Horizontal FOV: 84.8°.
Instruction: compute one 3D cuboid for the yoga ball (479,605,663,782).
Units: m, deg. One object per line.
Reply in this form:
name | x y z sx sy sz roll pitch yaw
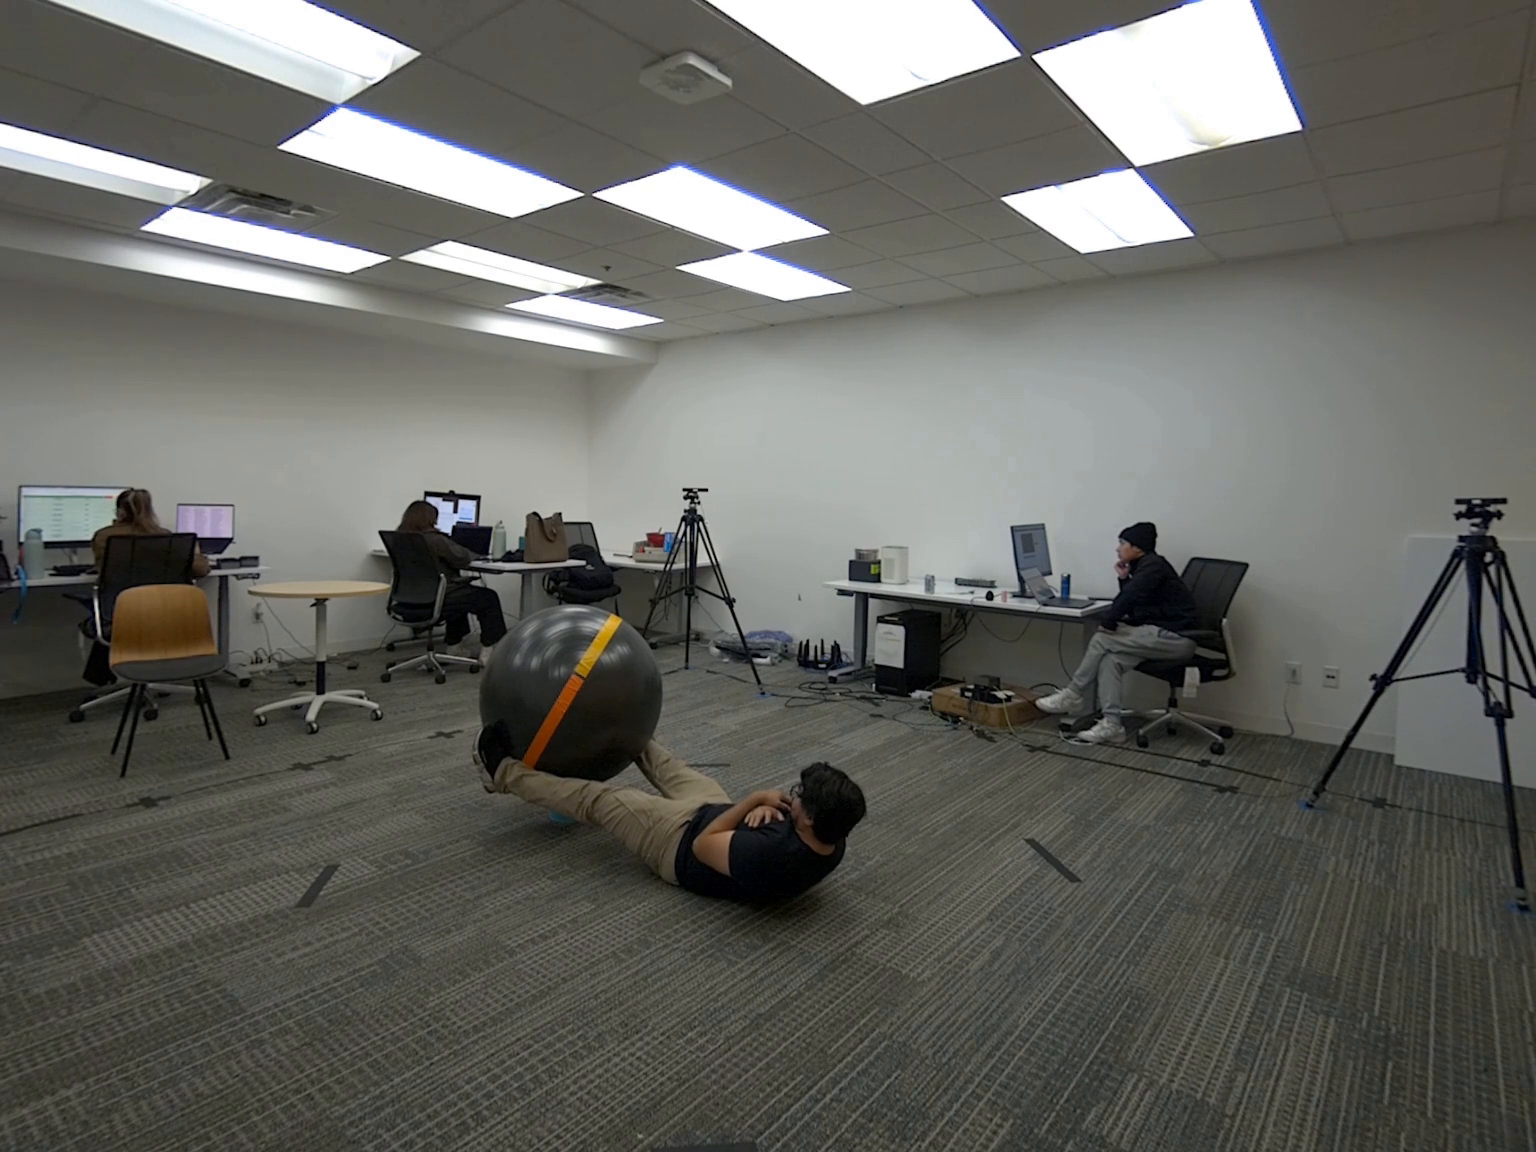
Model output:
yoga ball | -0.837 0.505 3.575 0.757 0.755 0.762 1 4 -2
